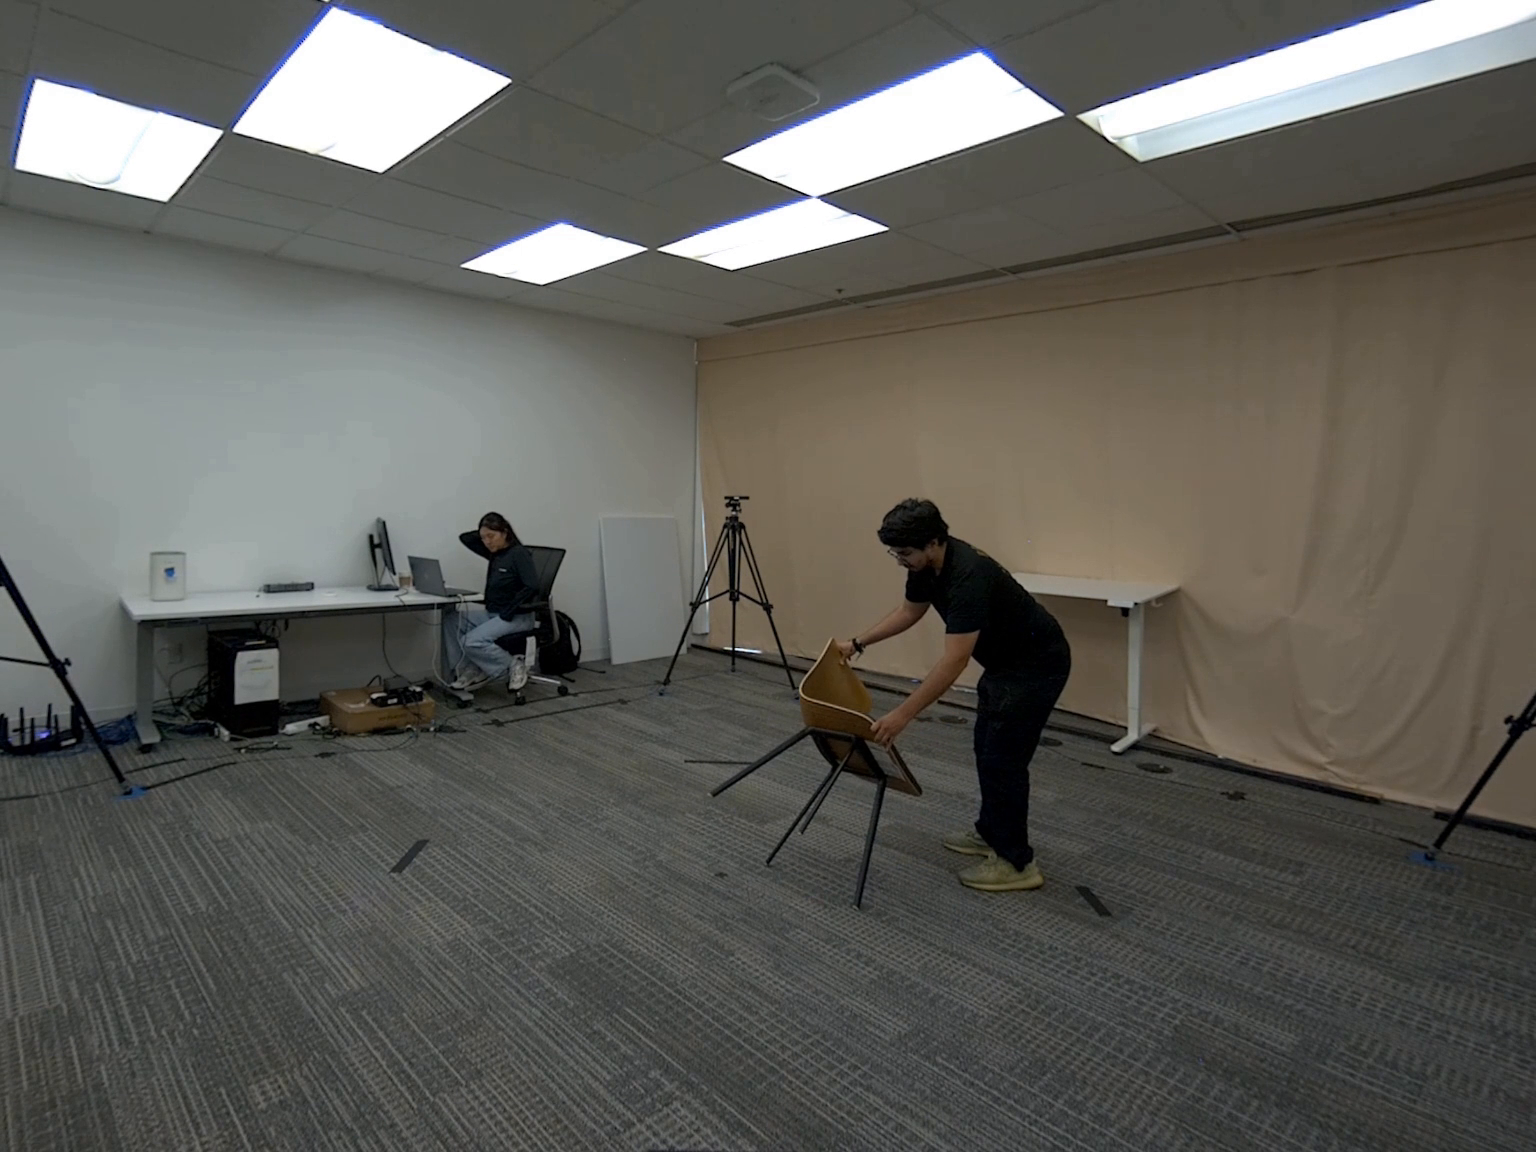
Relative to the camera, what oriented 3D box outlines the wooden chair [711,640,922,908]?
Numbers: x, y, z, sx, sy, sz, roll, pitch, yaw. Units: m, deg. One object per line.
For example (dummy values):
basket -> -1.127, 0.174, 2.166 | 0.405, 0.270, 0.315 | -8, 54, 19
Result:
wooden chair -> 0.285, 0.663, 3.113 | 0.536, 0.465, 0.880 | 1, 44, 44
